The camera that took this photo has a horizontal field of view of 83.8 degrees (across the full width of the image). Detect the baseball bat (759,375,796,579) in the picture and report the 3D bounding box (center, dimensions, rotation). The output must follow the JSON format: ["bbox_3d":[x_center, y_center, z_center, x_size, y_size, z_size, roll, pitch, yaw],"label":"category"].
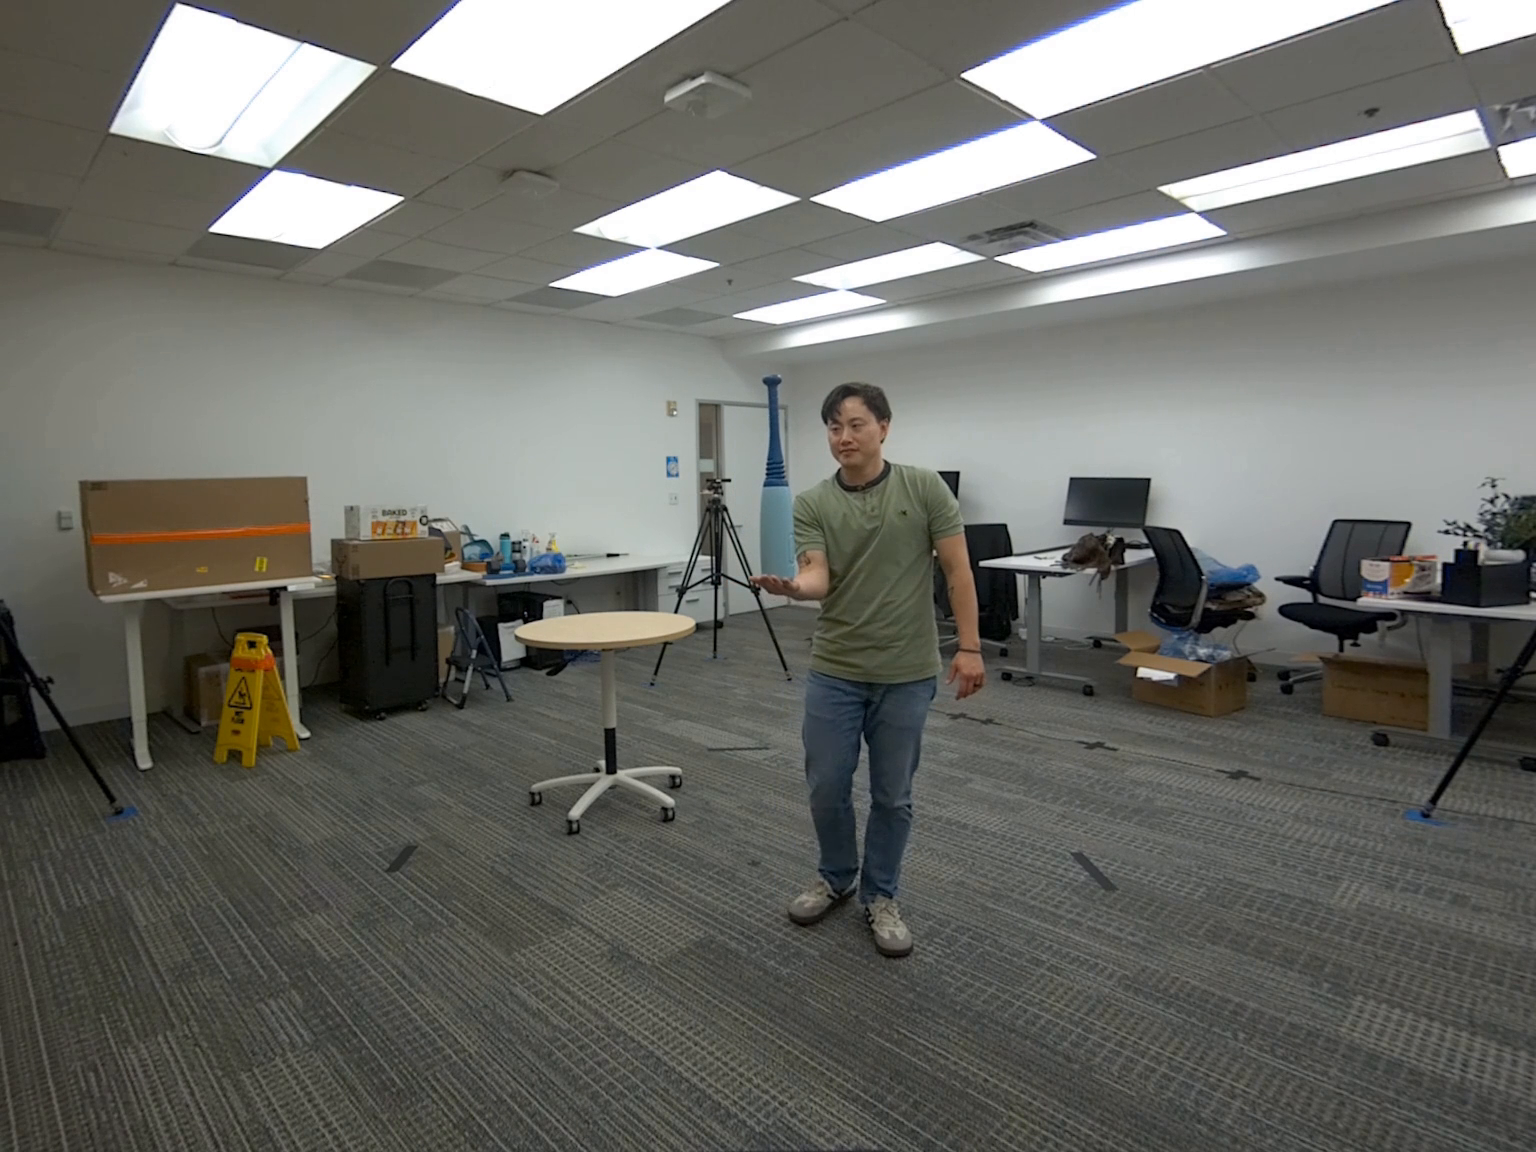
[{"bbox_3d":[0.013,-0.249,2.237,0.089,0.543,0.089,-1,0,-2],"label":"baseball bat"}]
